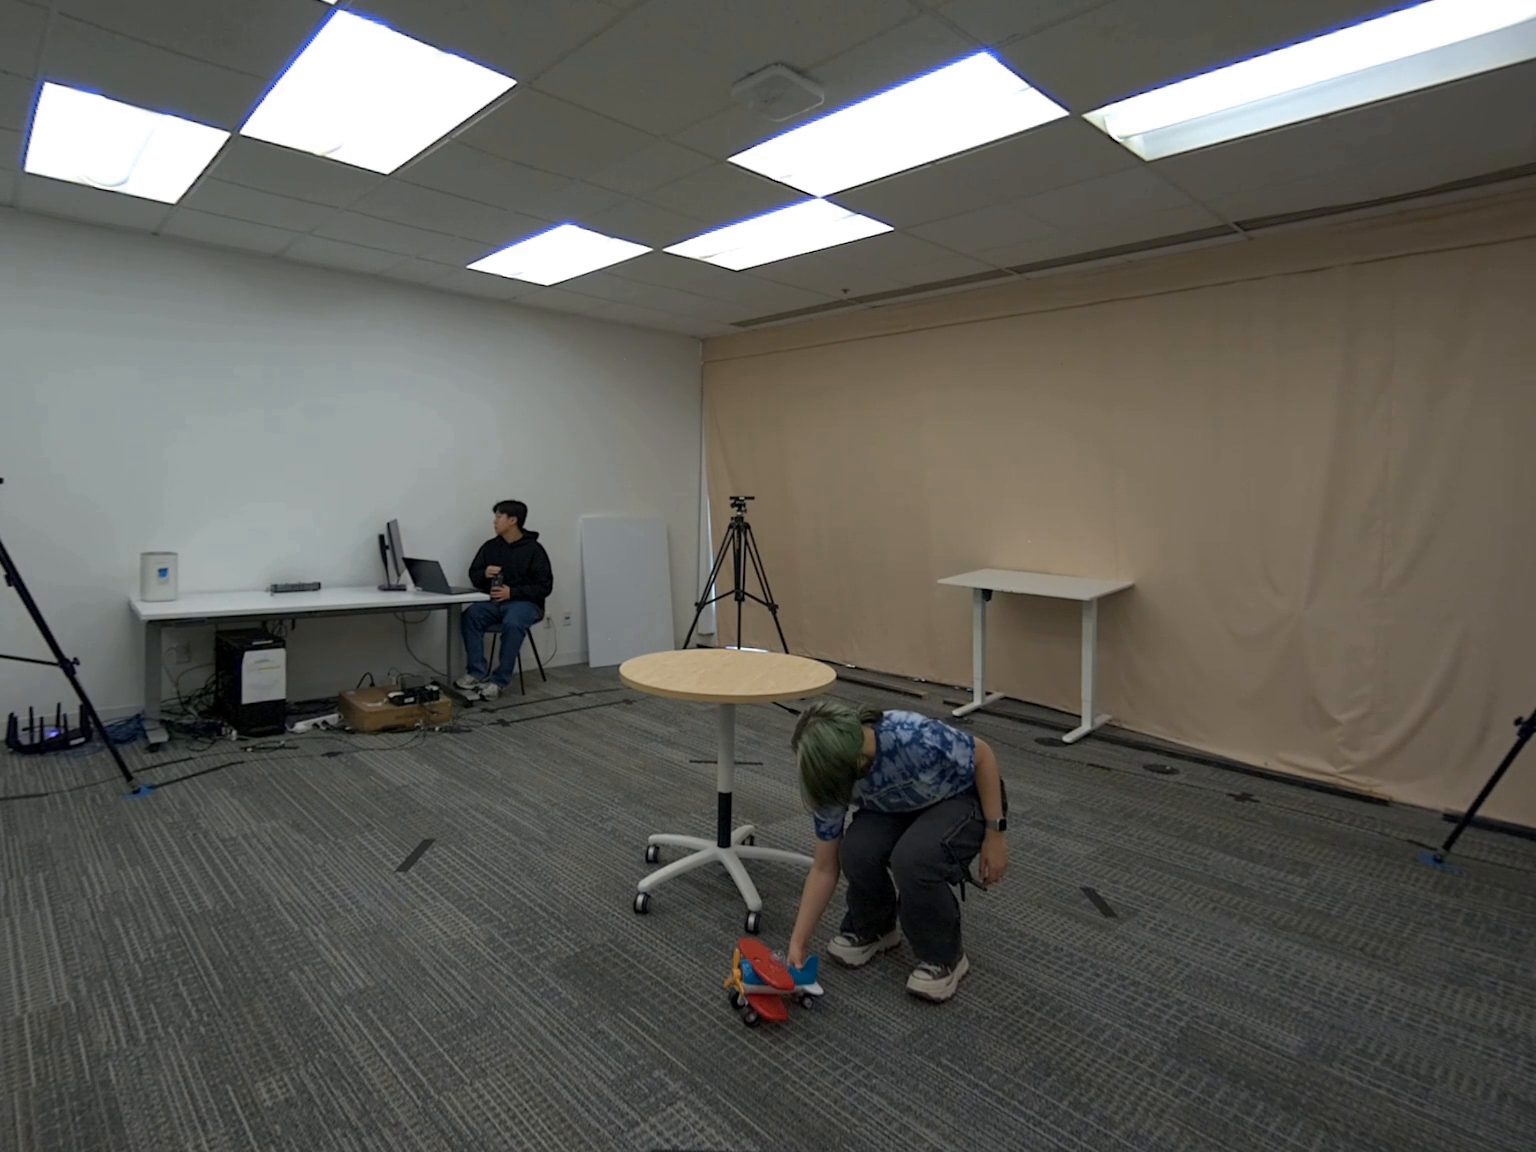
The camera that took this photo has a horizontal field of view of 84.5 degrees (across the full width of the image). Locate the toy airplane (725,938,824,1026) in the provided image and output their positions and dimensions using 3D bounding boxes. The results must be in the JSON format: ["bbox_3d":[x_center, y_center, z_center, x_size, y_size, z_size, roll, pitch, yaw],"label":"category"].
[{"bbox_3d":[0.005,1.100,2.305,0.257,0.156,0.254,5,7,39],"label":"toy airplane"}]
